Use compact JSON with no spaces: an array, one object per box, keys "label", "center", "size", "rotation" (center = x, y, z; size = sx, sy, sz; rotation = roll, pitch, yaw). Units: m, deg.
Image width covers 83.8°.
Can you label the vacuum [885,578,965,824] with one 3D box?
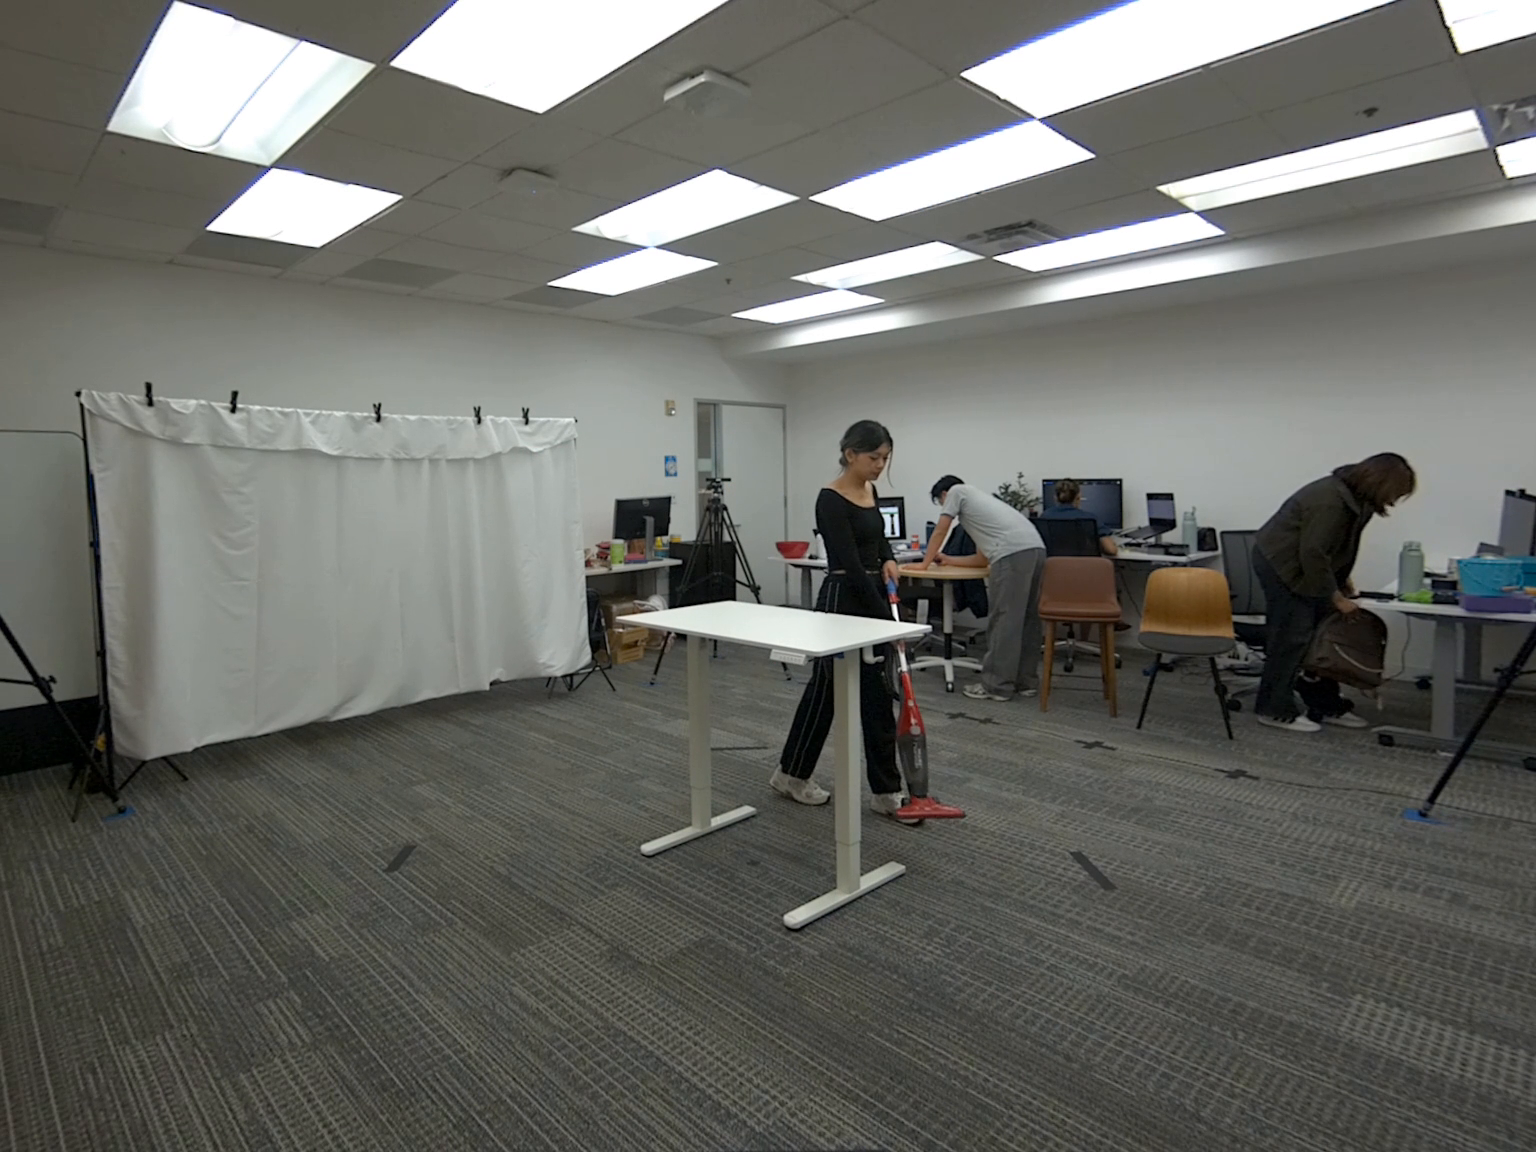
[{"label":"vacuum","center":[0.533,0.398,3.313],"size":[0.250,1.077,0.141],"rotation":[2,-32,-10]}]
